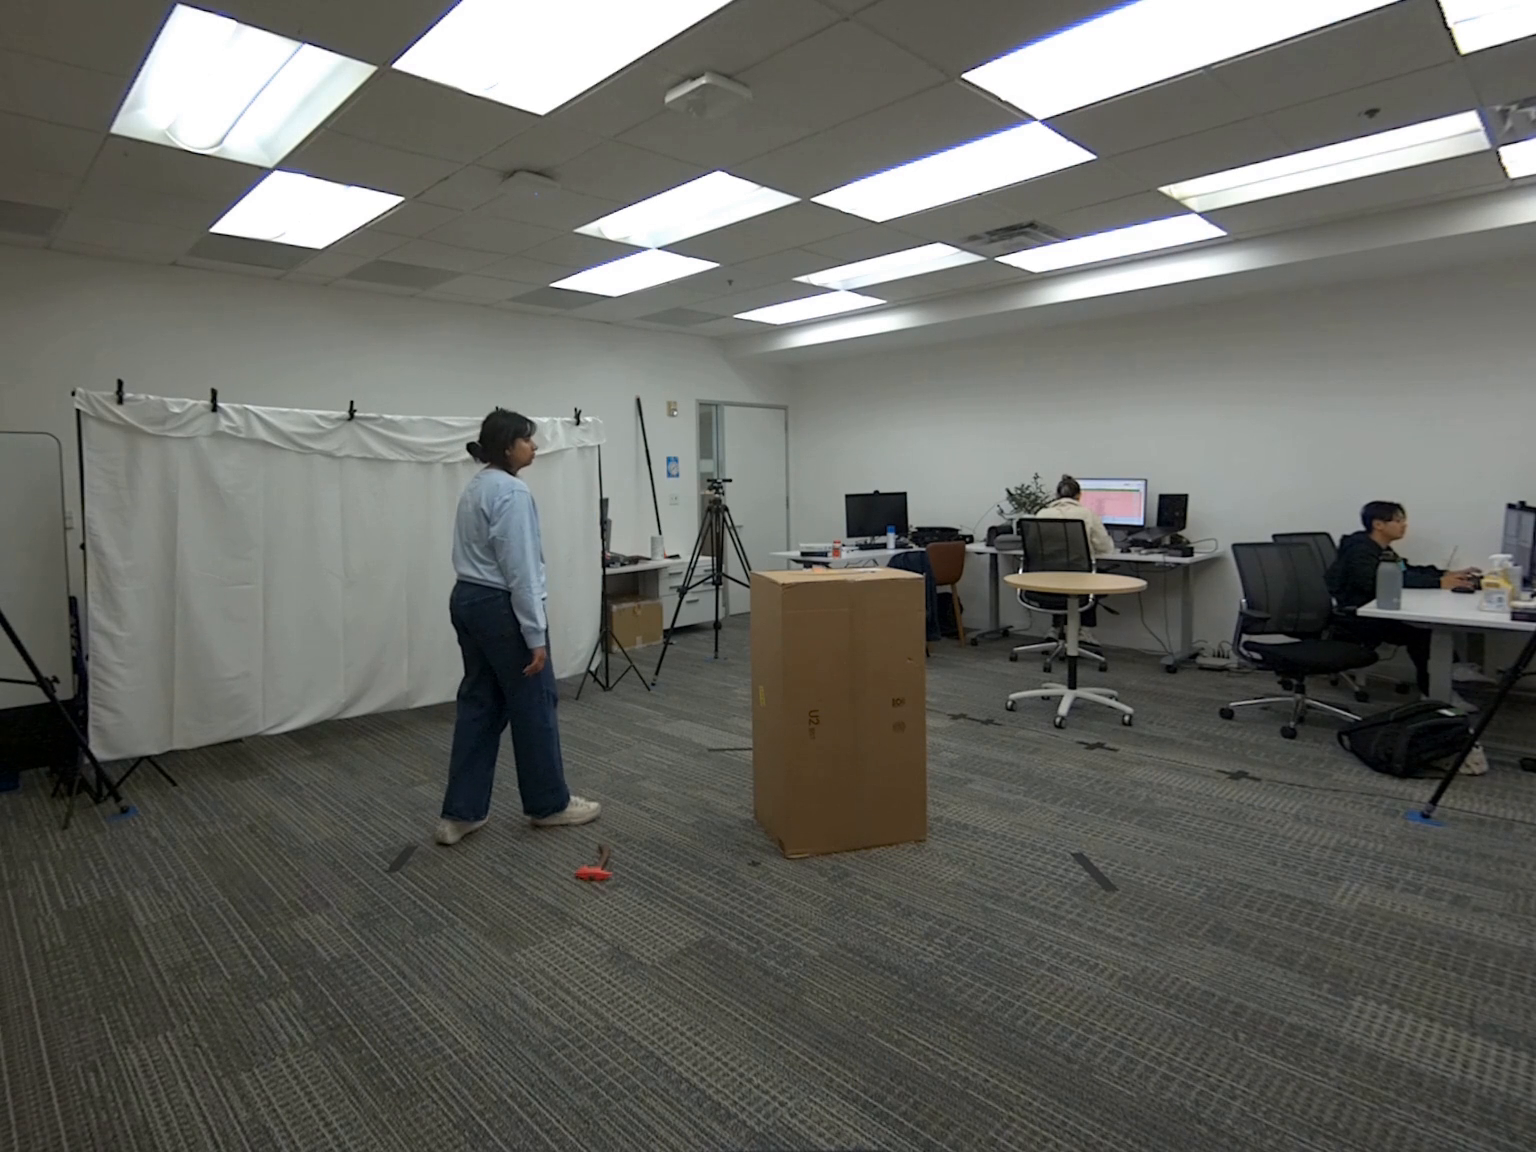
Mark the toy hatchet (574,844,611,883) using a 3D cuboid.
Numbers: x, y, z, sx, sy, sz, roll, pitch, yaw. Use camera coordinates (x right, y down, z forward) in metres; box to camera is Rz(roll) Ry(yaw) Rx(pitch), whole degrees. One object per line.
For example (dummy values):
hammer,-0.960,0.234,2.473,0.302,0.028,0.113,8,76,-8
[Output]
toy hatchet,-0.639,1.045,3.114,0.130,0.029,0.274,-4,5,-12
